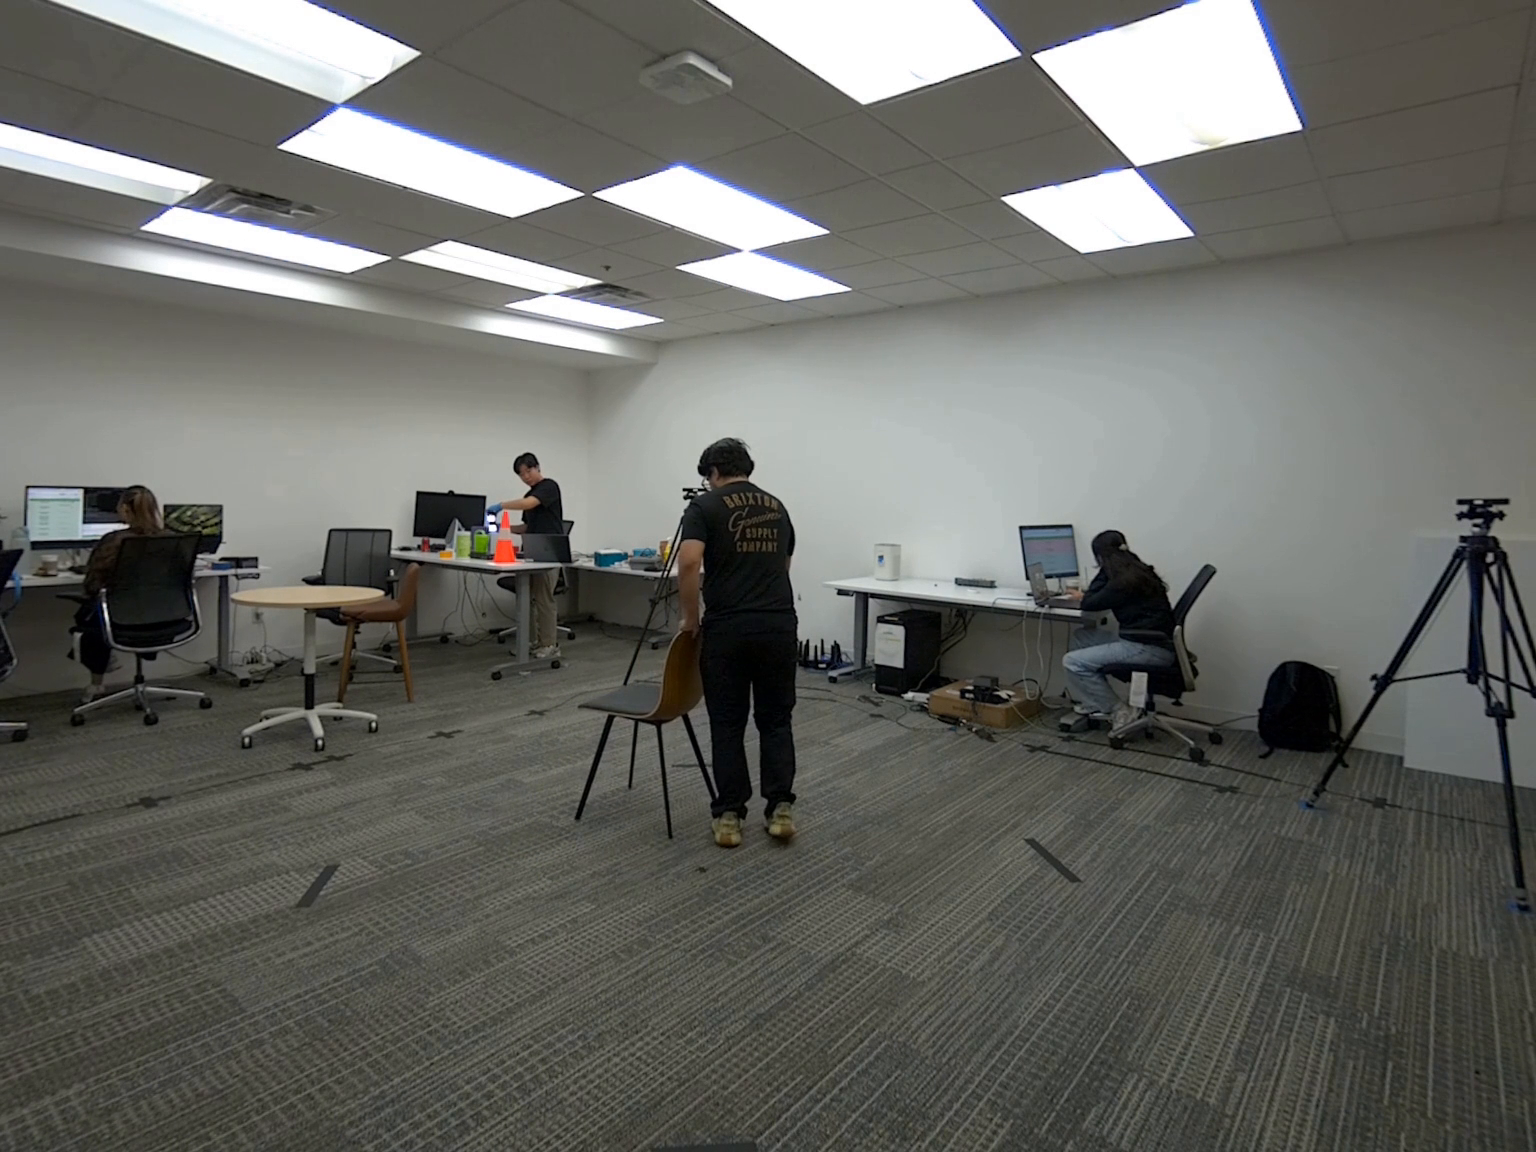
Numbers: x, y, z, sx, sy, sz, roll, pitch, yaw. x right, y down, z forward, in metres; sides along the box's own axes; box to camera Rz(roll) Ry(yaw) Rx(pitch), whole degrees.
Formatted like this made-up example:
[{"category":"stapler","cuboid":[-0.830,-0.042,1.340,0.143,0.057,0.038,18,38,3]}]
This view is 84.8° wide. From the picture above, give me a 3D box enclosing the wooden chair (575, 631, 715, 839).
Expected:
[{"category":"wooden chair","cuboid":[-0.527,0.587,3.638,0.537,0.873,0.468,7,6,22]}]
